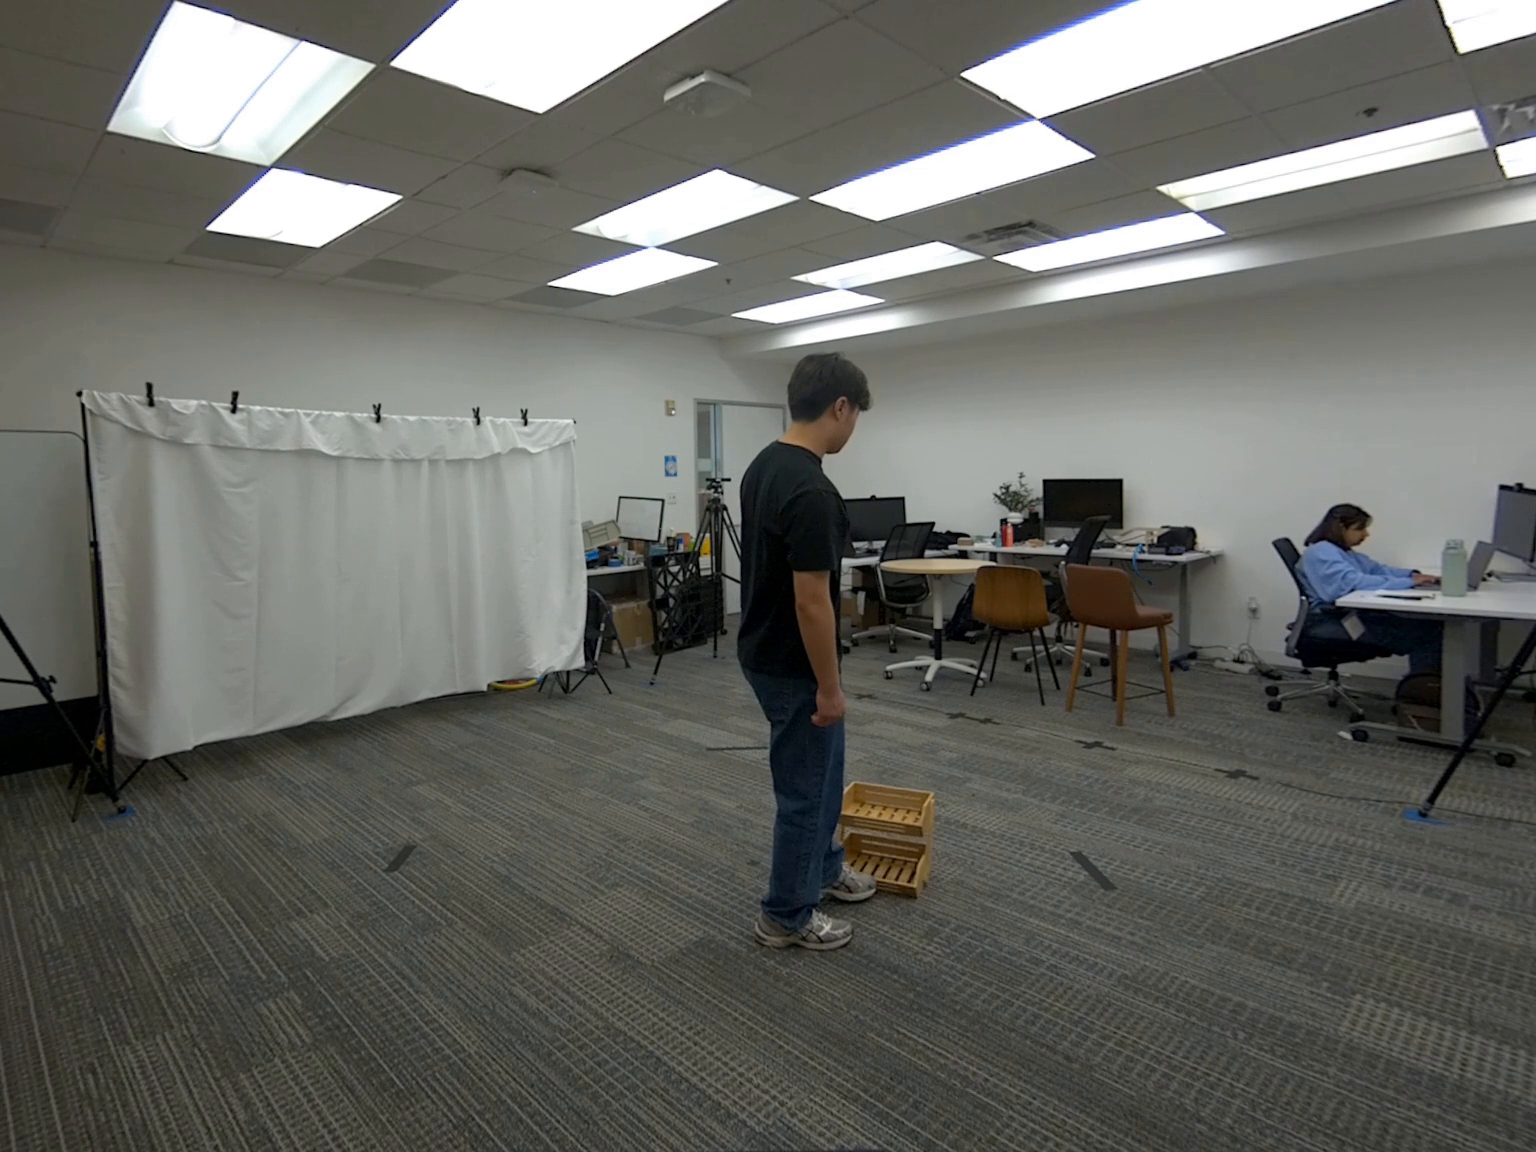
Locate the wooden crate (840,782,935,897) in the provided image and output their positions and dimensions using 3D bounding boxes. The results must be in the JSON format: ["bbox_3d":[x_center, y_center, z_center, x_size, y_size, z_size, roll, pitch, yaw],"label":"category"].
[{"bbox_3d":[0.408,0.914,2.994,0.332,0.272,0.296,1,6,24],"label":"wooden crate"}]
